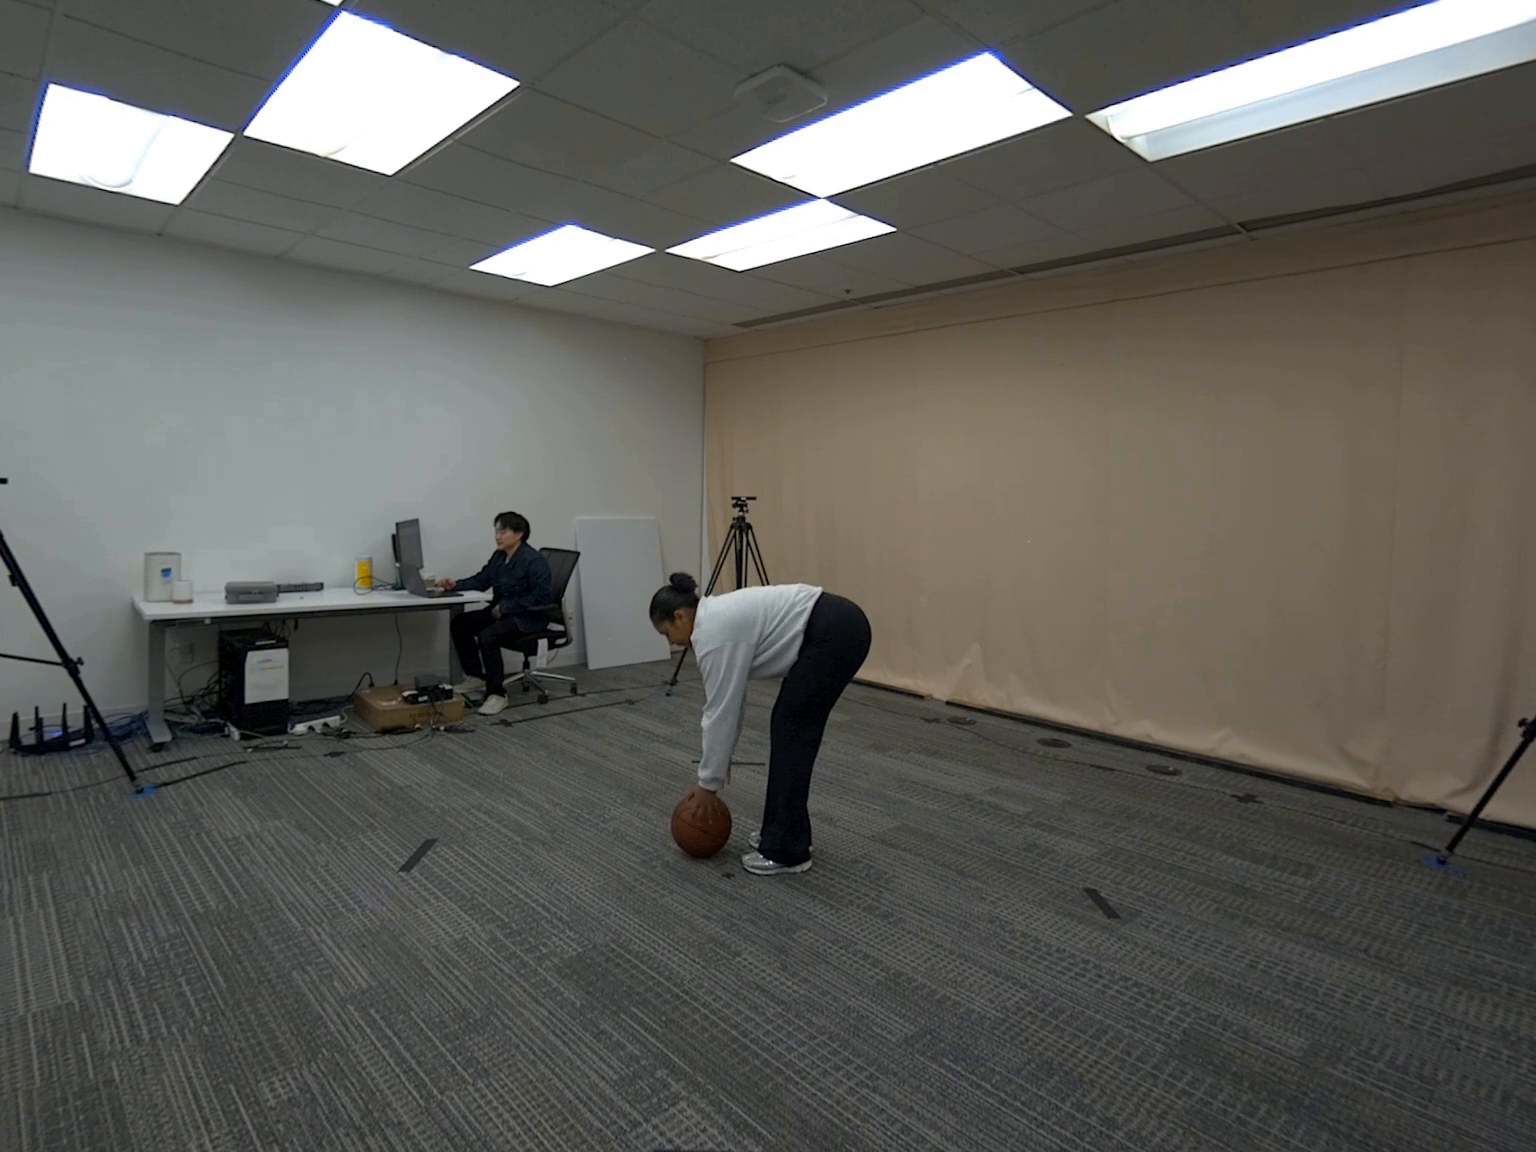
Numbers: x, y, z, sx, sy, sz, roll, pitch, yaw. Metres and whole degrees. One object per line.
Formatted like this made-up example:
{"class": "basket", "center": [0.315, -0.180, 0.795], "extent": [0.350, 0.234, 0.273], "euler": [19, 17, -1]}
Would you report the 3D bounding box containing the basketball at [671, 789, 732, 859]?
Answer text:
{"class": "basketball", "center": [-0.264, 0.957, 3.278], "extent": [0.236, 0.235, 0.237], "euler": [1, 4, -1]}
